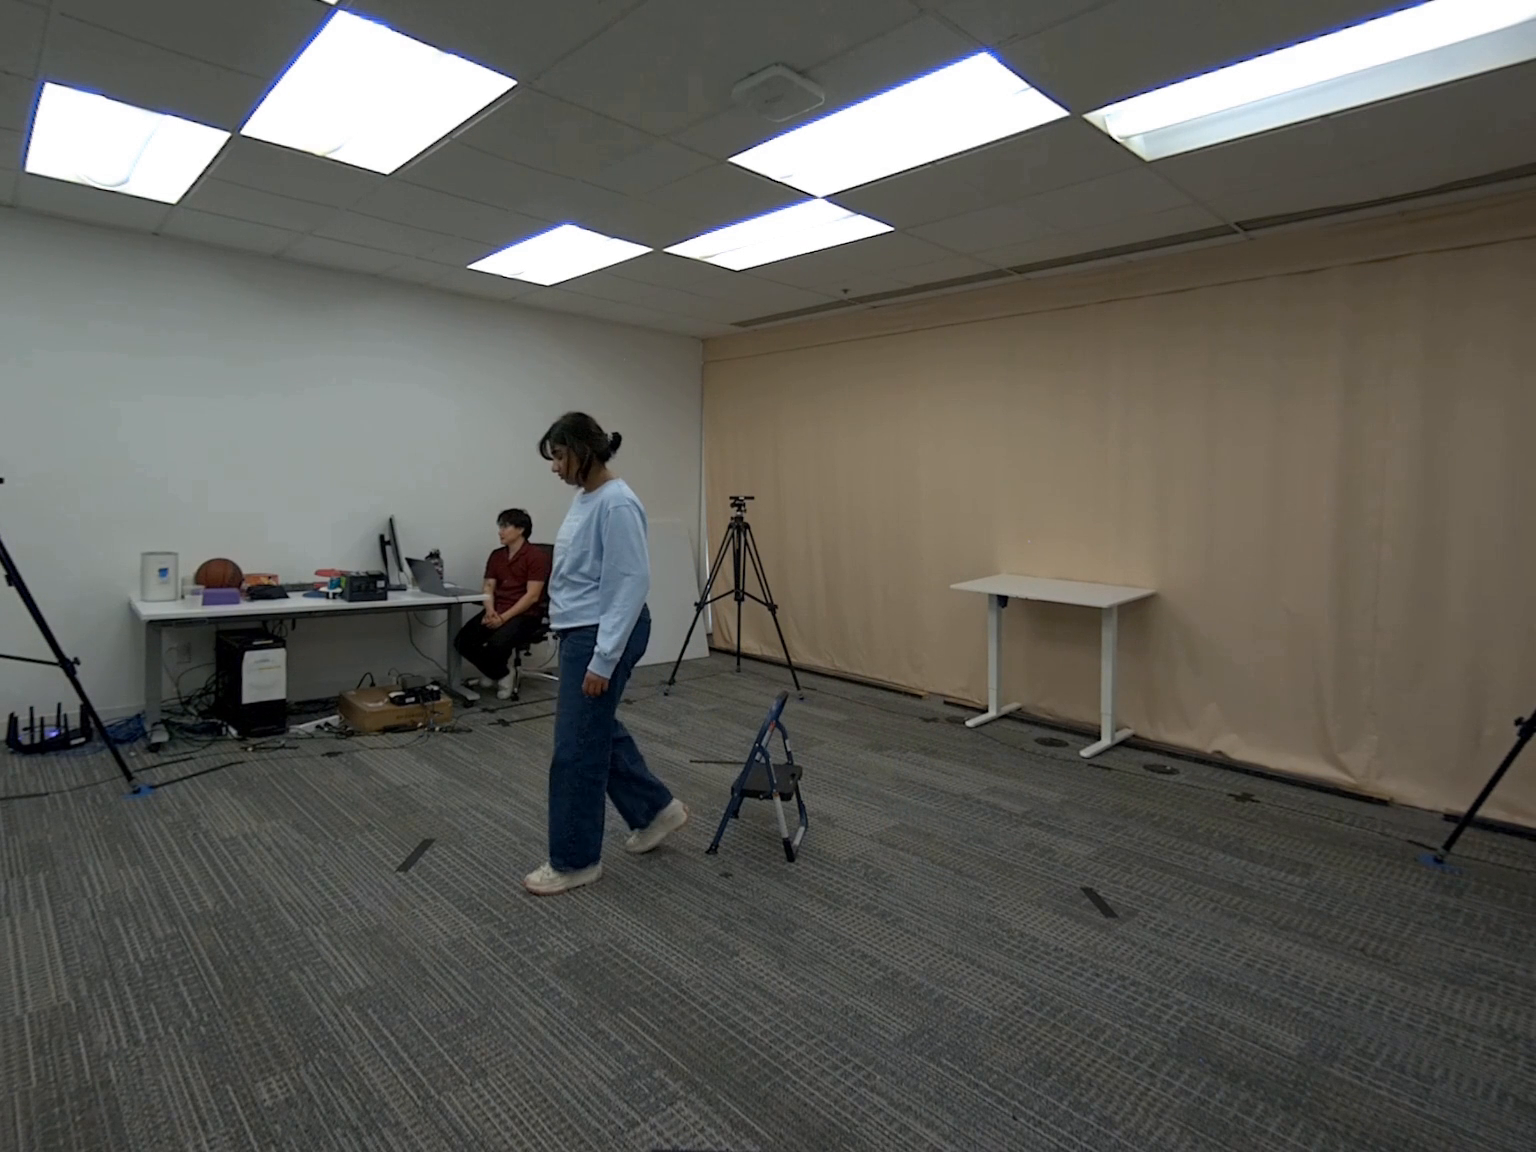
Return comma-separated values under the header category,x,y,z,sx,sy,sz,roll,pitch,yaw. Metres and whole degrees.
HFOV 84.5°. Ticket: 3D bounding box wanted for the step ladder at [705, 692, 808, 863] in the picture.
category,x,y,z,sx,sy,sz,roll,pitch,yaw
step ladder,-0.028,0.774,3.442,0.353,0.605,0.427,2,3,11
